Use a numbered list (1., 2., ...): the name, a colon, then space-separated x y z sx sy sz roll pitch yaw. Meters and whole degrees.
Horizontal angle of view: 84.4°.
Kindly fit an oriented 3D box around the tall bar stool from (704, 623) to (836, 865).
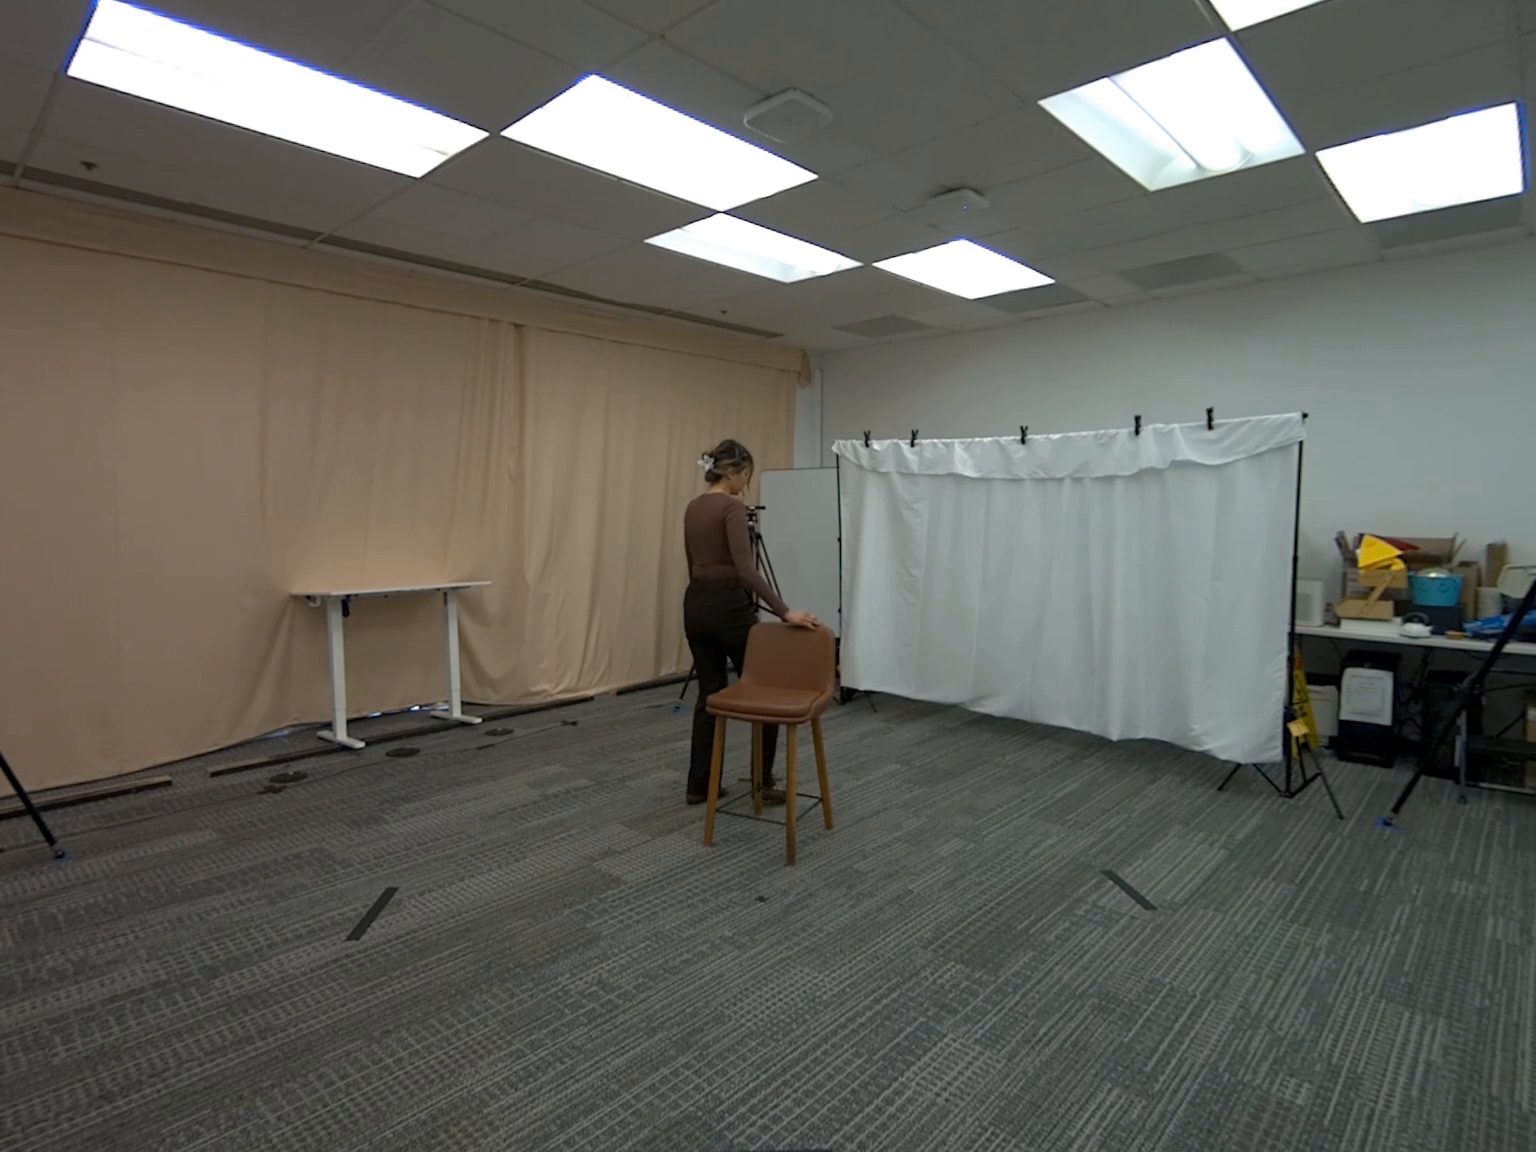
1. tall bar stool: 0.028 0.661 3.524 0.469 0.889 0.455 2 2 29
